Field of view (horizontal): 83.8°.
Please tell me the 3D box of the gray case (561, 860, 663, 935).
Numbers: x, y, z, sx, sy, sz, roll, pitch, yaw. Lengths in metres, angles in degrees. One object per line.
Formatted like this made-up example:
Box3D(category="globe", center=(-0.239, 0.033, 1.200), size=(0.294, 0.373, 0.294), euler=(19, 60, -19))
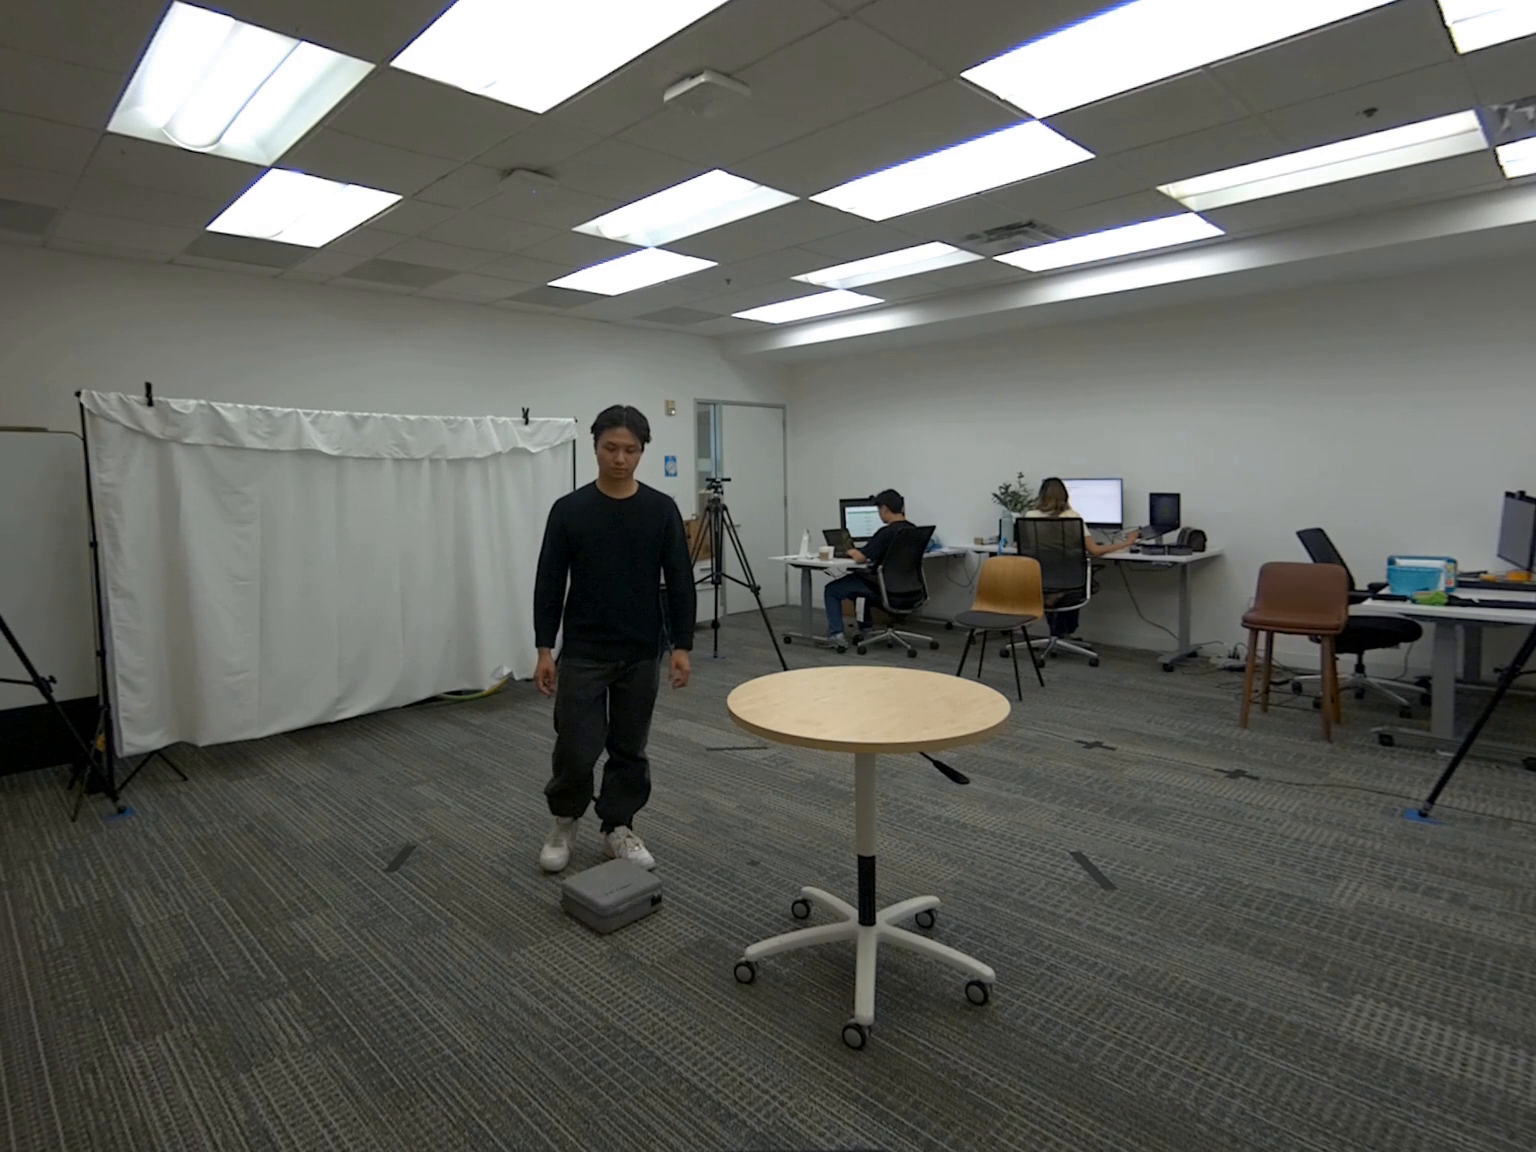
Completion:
Box3D(category="gray case", center=(-0.513, 1.034, 2.782), size=(0.250, 0.104, 0.269), euler=(-9, 10, -44))
